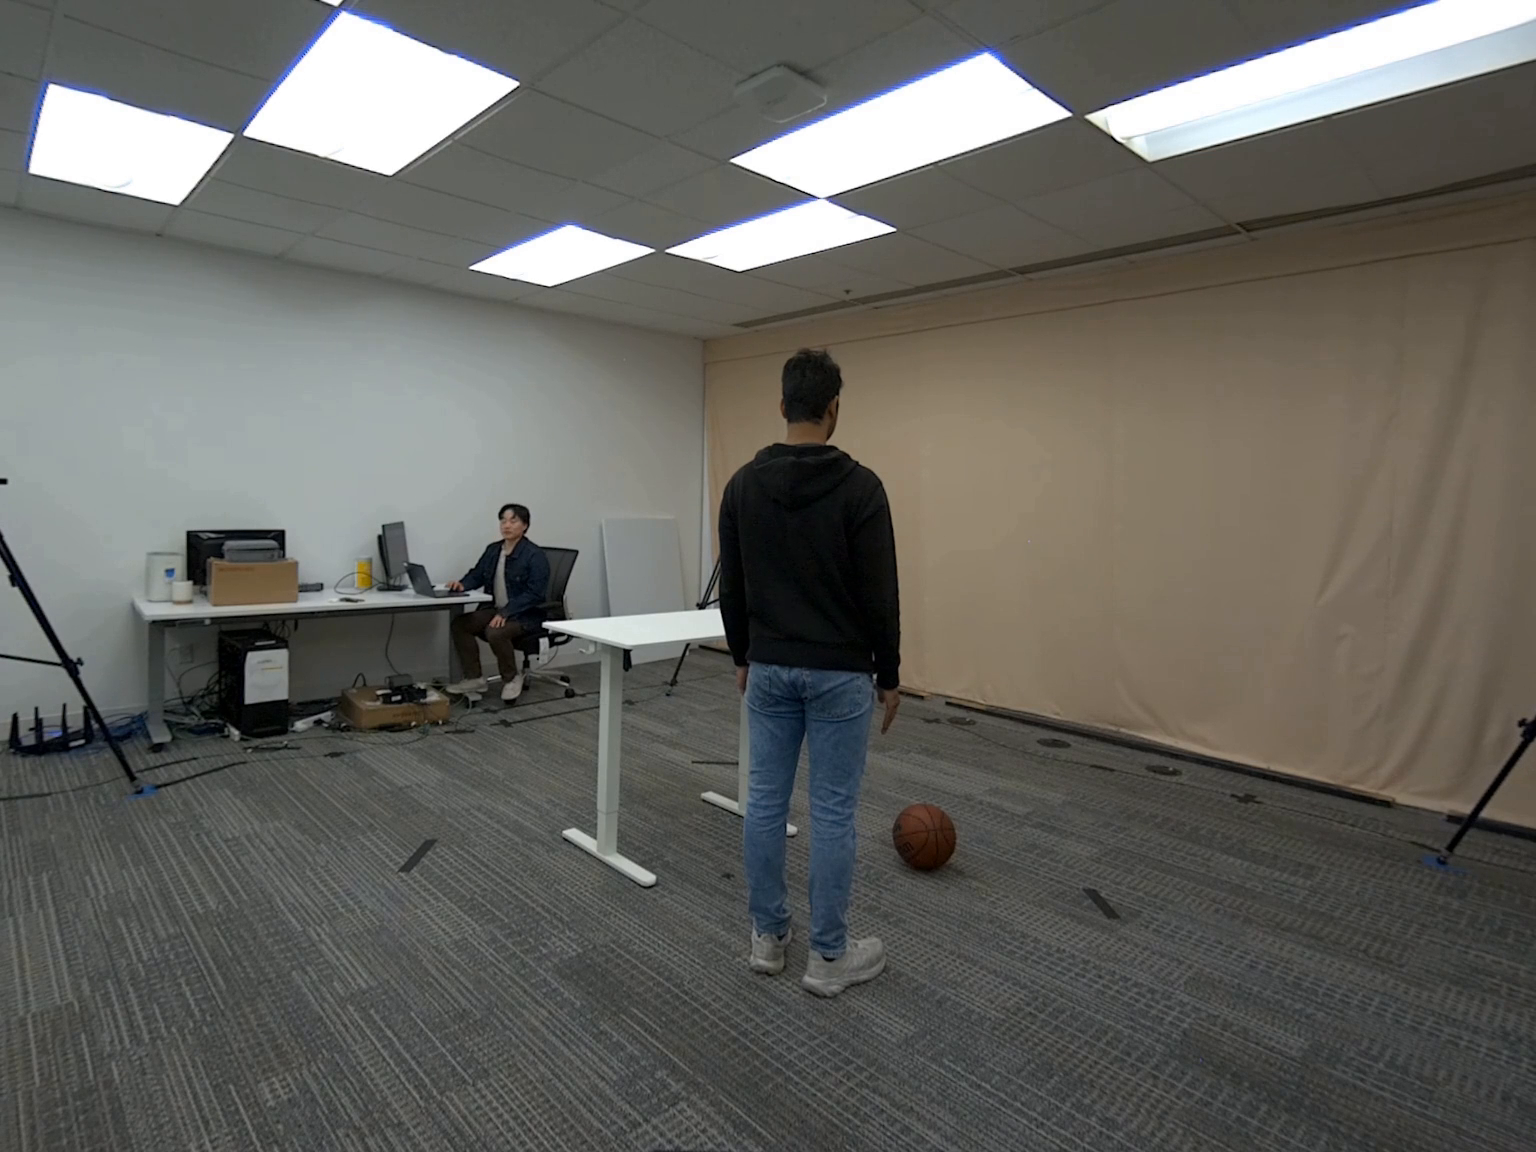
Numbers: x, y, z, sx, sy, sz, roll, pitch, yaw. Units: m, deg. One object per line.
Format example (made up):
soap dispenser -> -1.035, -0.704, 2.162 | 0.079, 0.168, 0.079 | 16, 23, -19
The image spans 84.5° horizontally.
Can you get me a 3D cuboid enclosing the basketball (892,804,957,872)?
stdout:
basketball -> 0.590, 0.990, 3.224 | 0.236, 0.235, 0.237 | 1, 4, -1
